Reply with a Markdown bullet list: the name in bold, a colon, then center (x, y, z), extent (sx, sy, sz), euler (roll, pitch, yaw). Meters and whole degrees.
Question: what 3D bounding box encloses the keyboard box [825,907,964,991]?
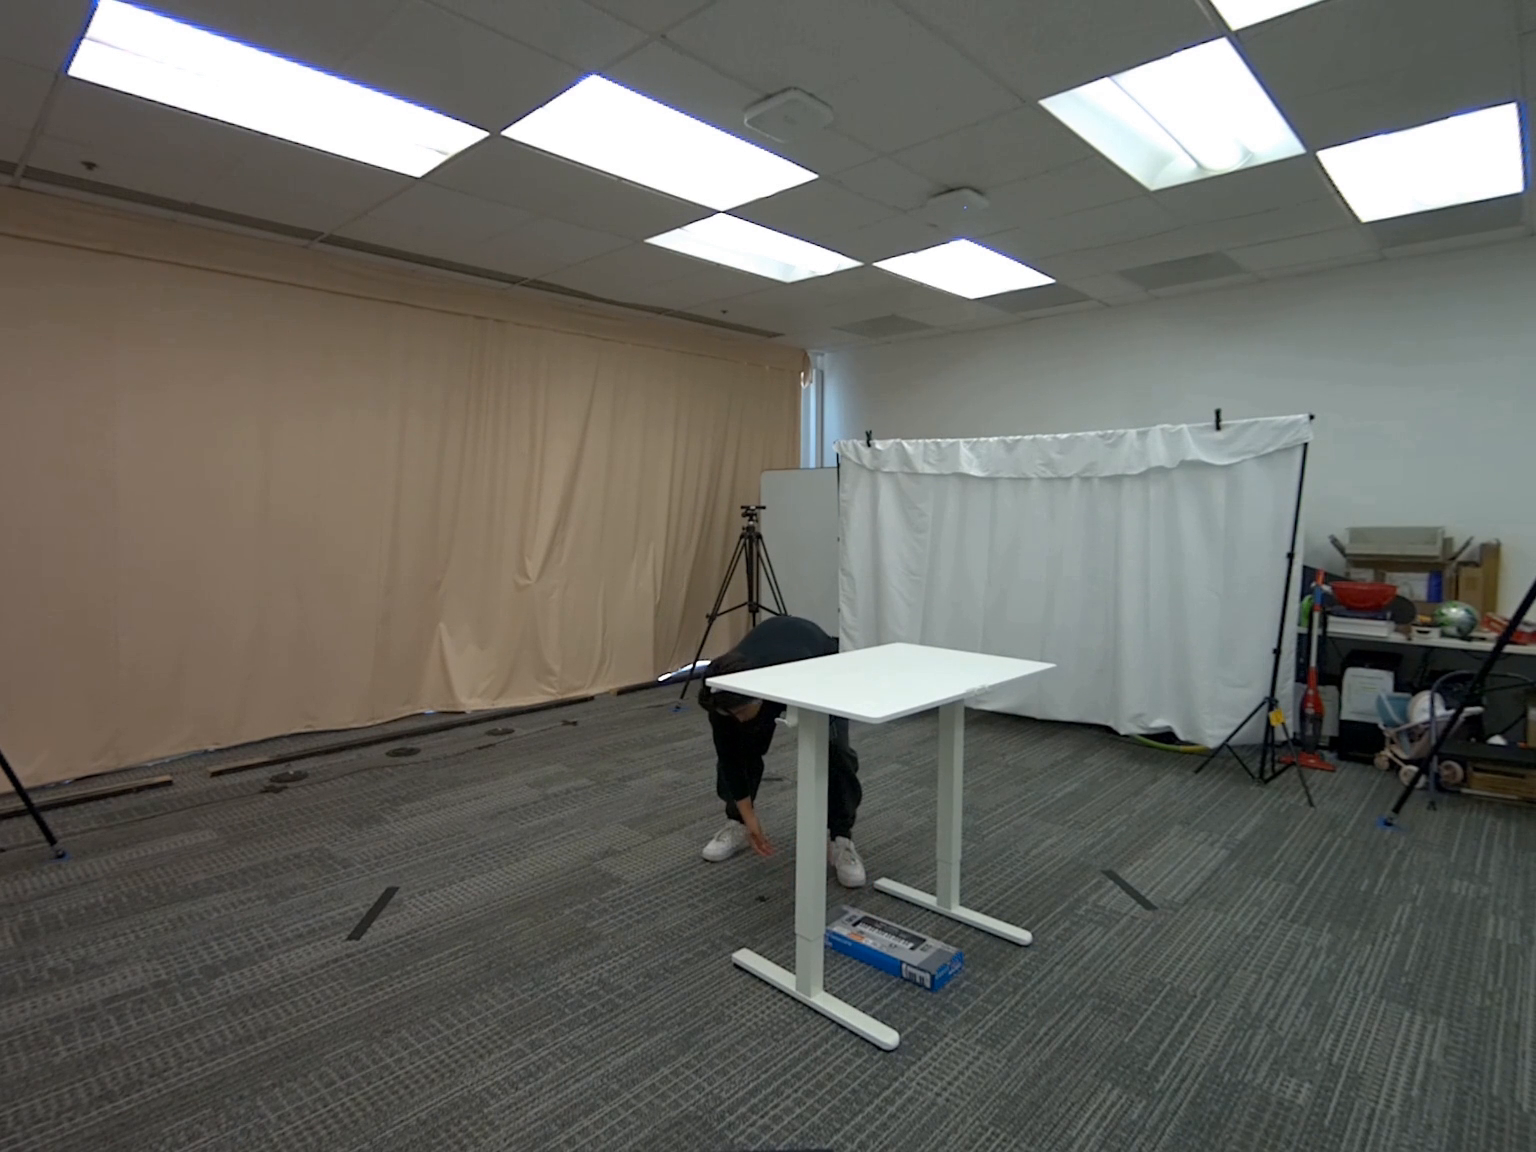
- **keyboard box**: center (0.360, 1.142, 2.611), extent (0.451, 0.059, 0.171), euler (4, 7, 42)
